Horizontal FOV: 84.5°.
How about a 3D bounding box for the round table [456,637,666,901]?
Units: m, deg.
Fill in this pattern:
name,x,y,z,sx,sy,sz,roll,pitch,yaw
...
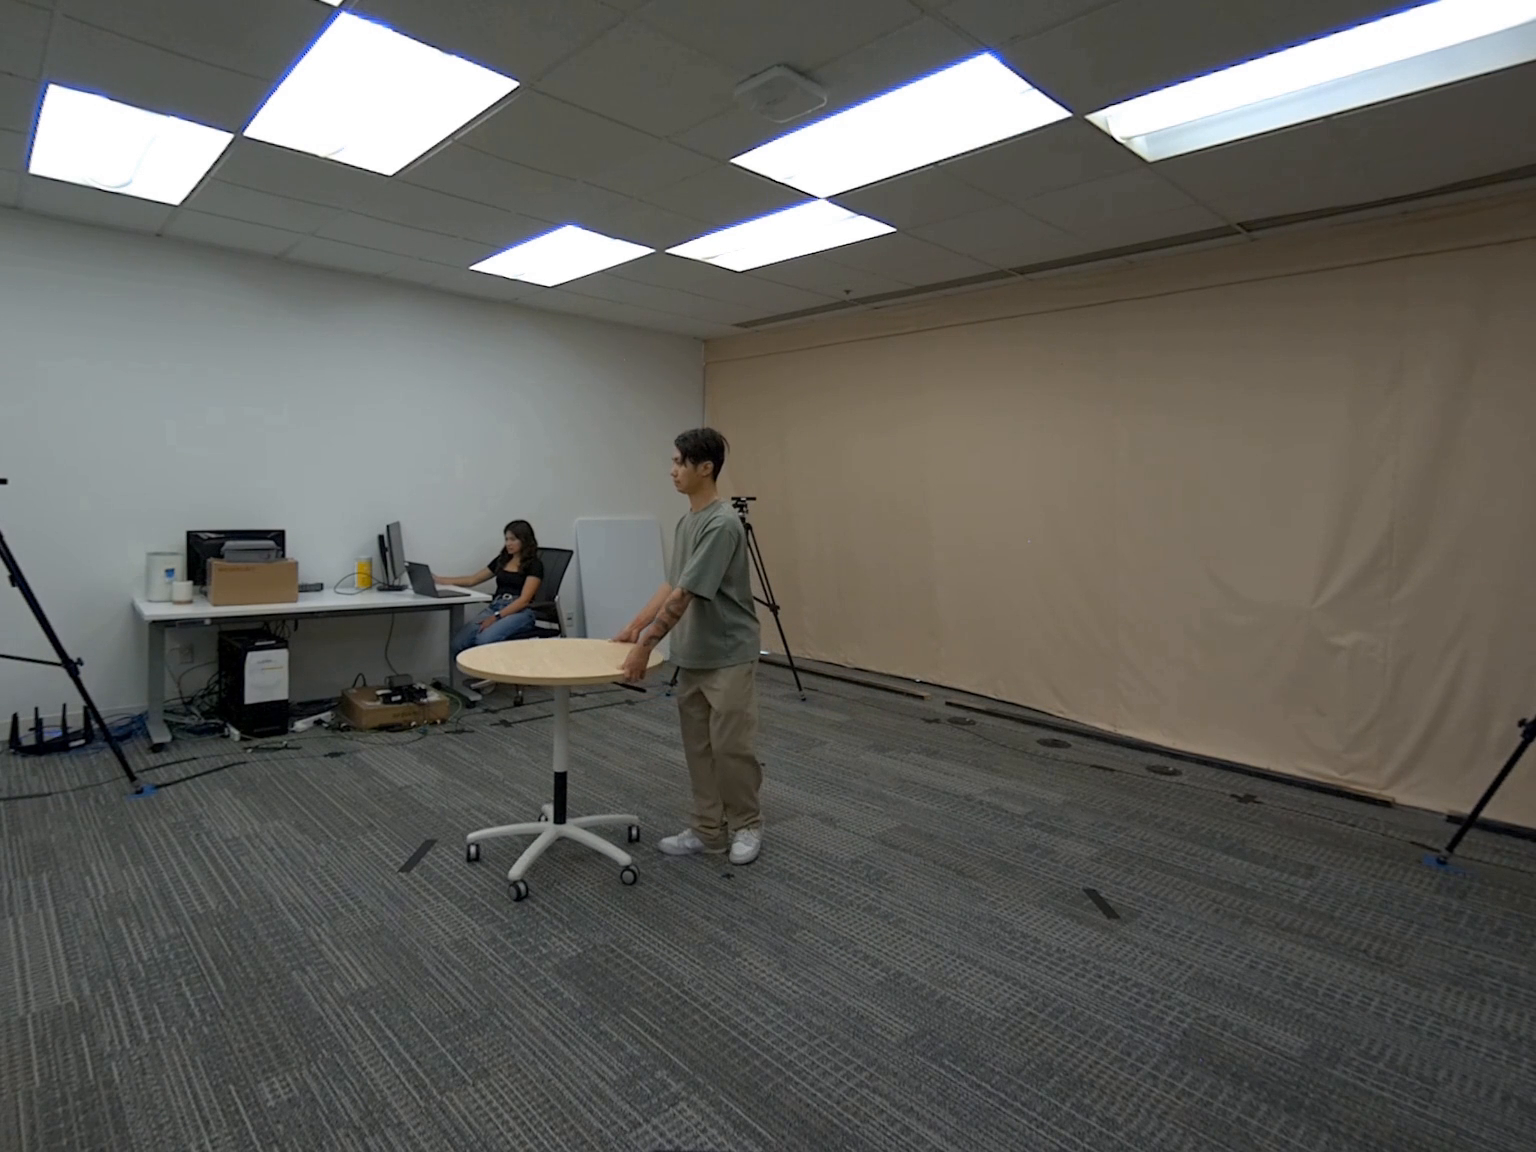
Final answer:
name,x,y,z,sx,sy,sz,roll,pitch,yaw
round table,-0.802,0.691,3.196,0.784,0.784,0.788,2,4,-1
